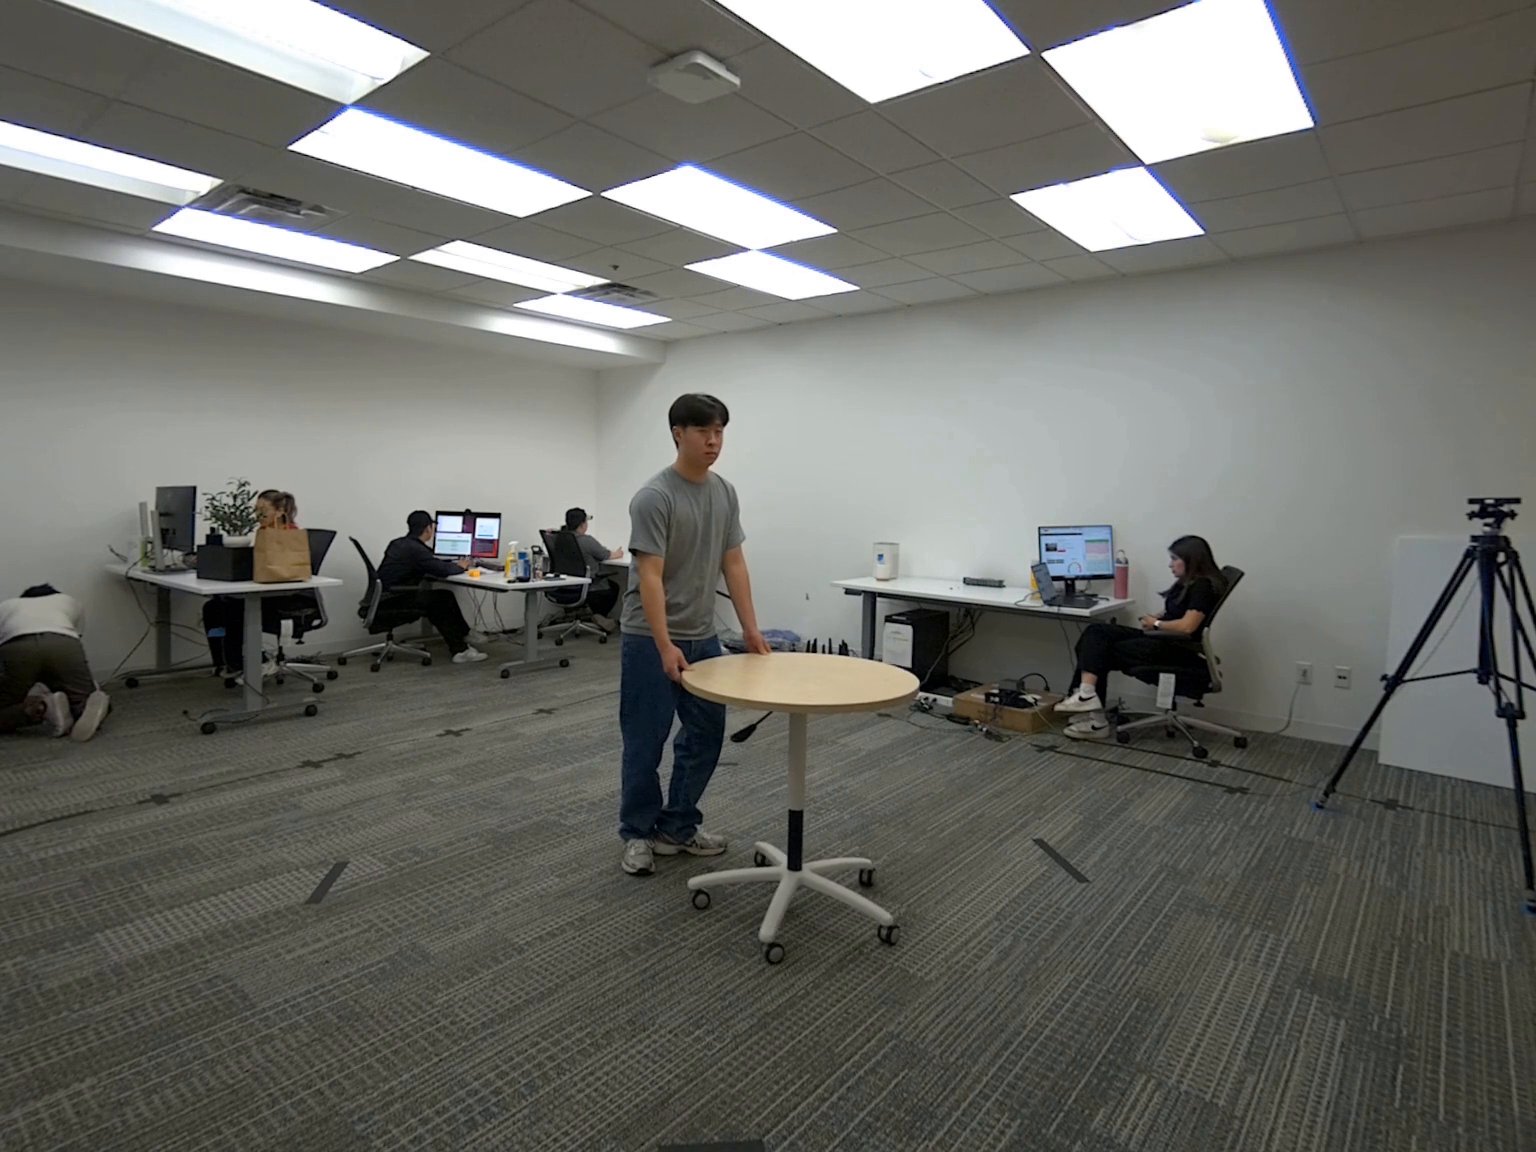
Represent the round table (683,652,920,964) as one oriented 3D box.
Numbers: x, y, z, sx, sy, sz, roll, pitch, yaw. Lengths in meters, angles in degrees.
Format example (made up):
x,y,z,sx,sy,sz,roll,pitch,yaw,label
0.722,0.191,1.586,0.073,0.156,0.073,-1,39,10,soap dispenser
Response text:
x,y,z,sx,sy,sz,roll,pitch,yaw,label
0.084,0.713,2.795,0.763,0.791,0.768,1,4,-2,round table
